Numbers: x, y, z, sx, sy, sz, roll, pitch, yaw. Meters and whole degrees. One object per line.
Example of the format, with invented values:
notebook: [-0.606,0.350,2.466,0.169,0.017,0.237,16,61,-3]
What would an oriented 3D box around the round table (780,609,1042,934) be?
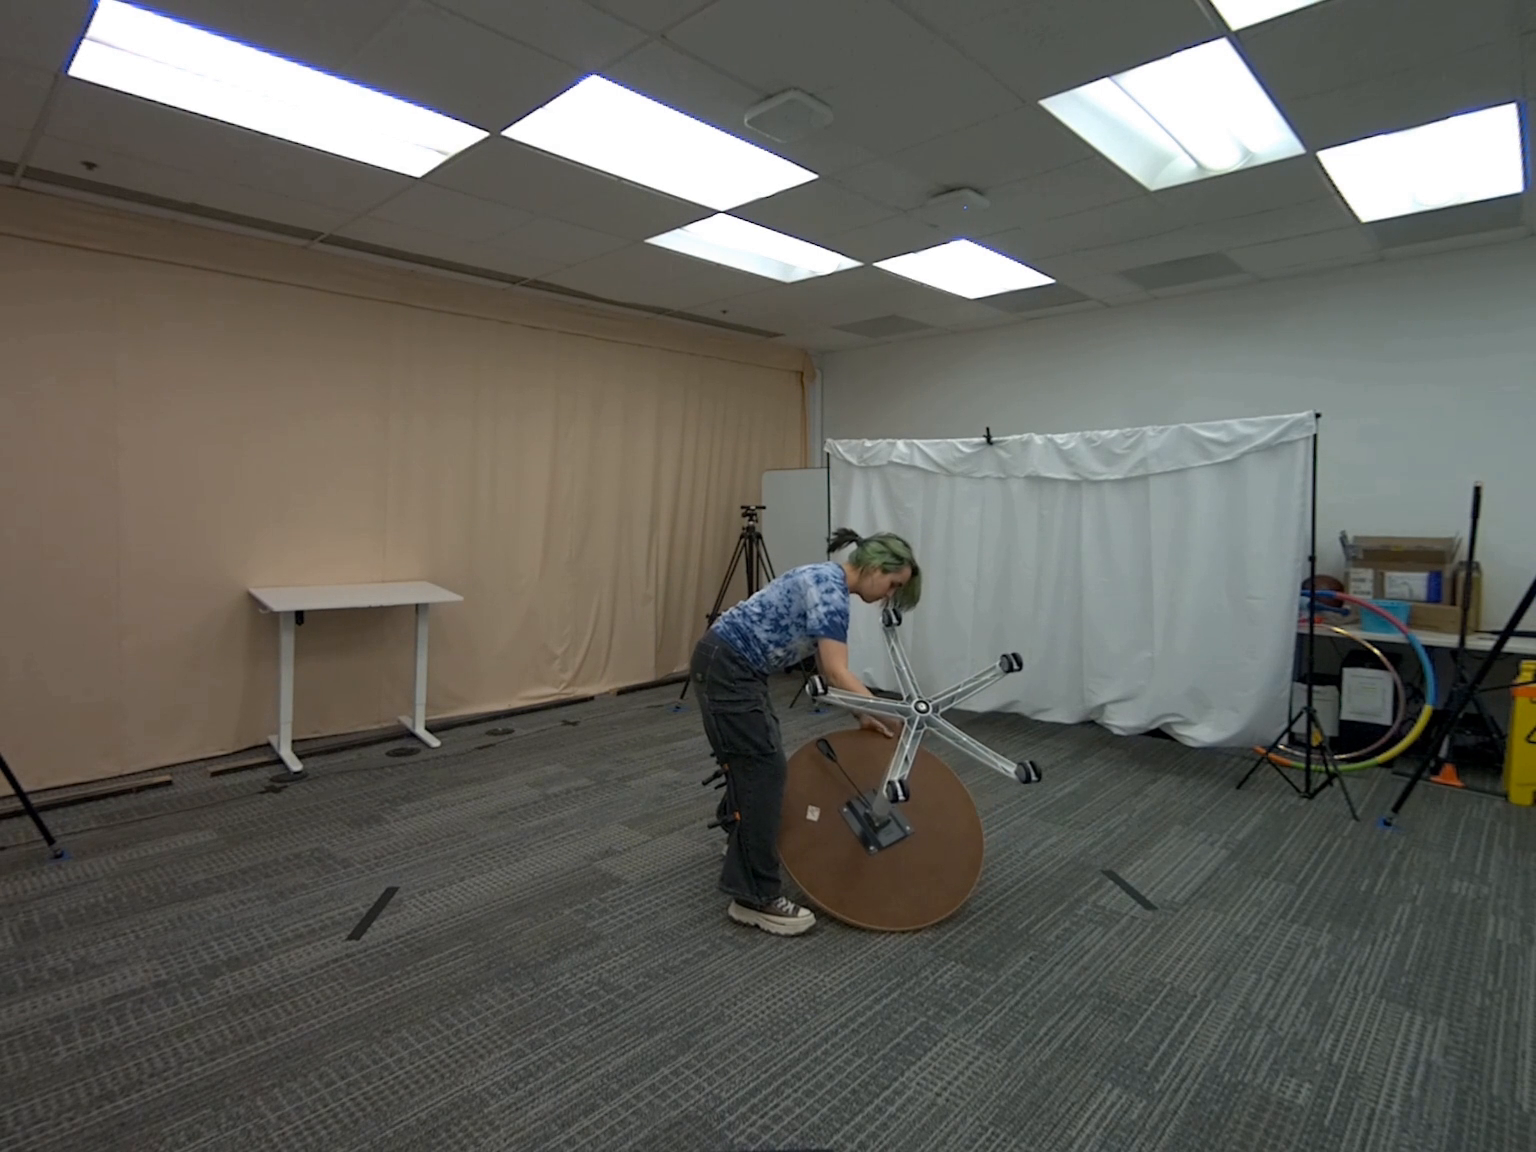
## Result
round table: [0.432,0.618,2.749,0.760,0.782,0.779,3,45,-5]
